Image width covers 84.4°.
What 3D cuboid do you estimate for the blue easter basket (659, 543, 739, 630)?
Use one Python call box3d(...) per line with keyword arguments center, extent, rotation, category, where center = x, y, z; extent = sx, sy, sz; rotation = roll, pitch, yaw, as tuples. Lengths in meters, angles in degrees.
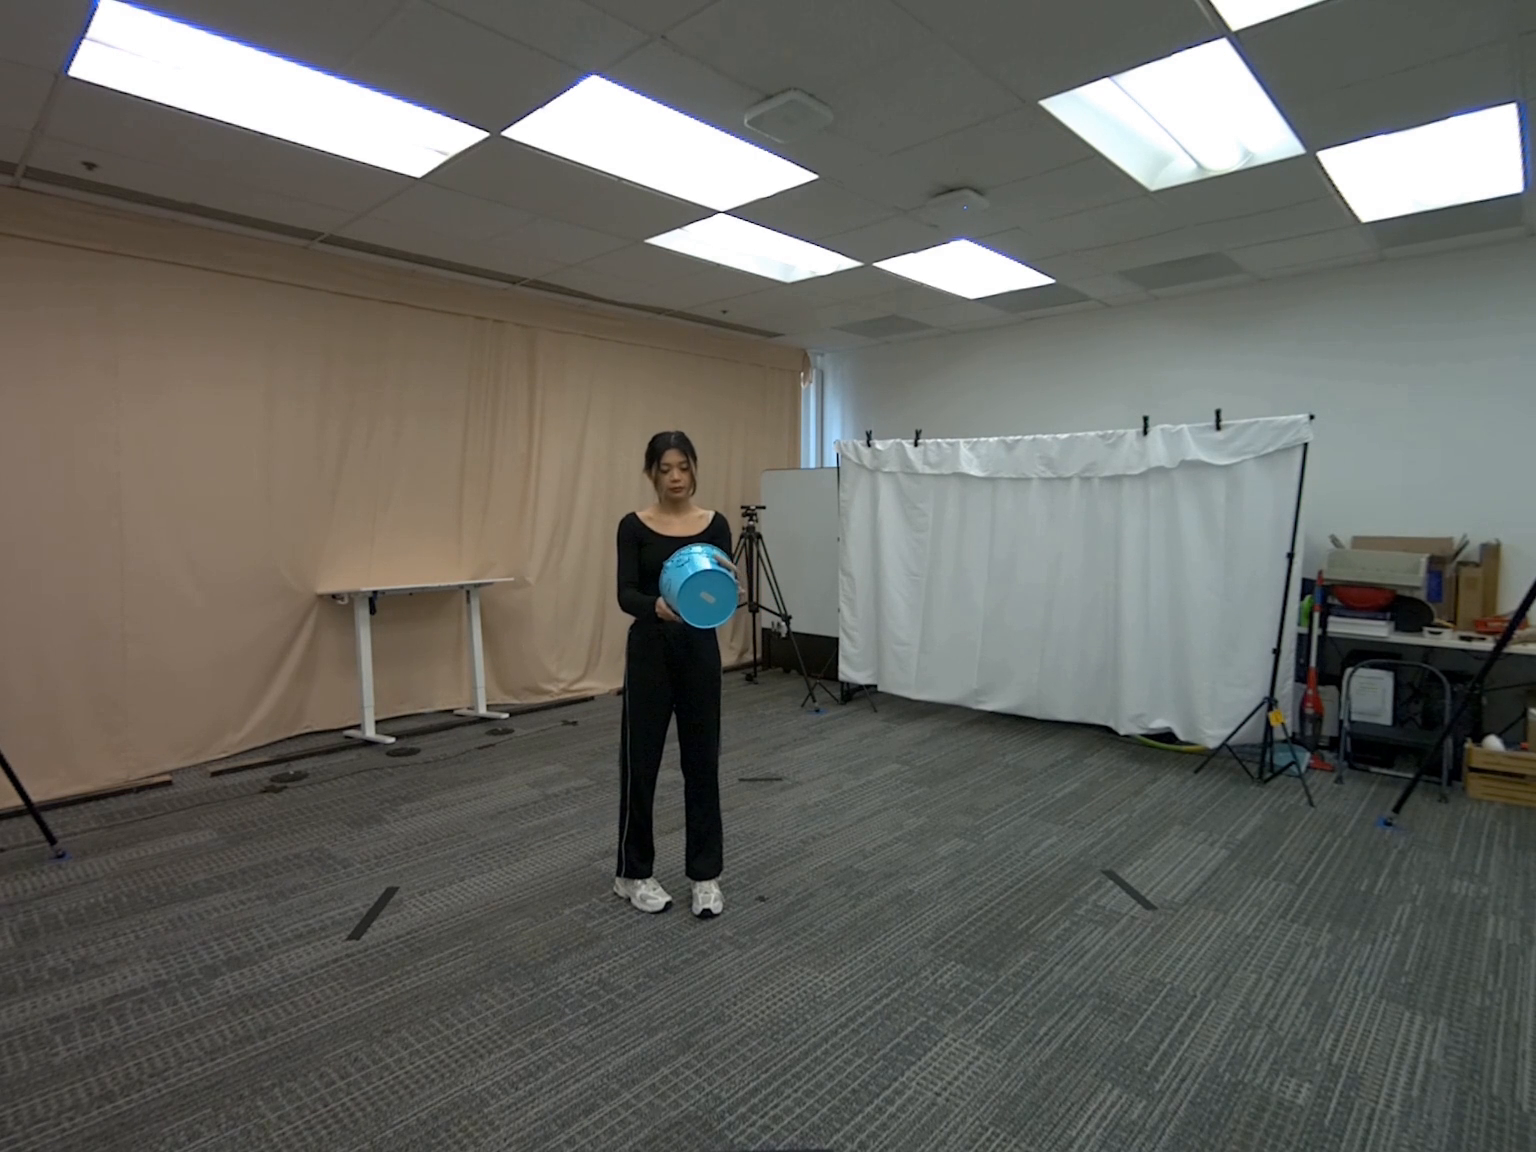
box3d(center=(-0.197, 0.046, 2.470), extent=(0.240, 0.241, 0.160), rotation=(-1, 19, -14), category="blue easter basket")
